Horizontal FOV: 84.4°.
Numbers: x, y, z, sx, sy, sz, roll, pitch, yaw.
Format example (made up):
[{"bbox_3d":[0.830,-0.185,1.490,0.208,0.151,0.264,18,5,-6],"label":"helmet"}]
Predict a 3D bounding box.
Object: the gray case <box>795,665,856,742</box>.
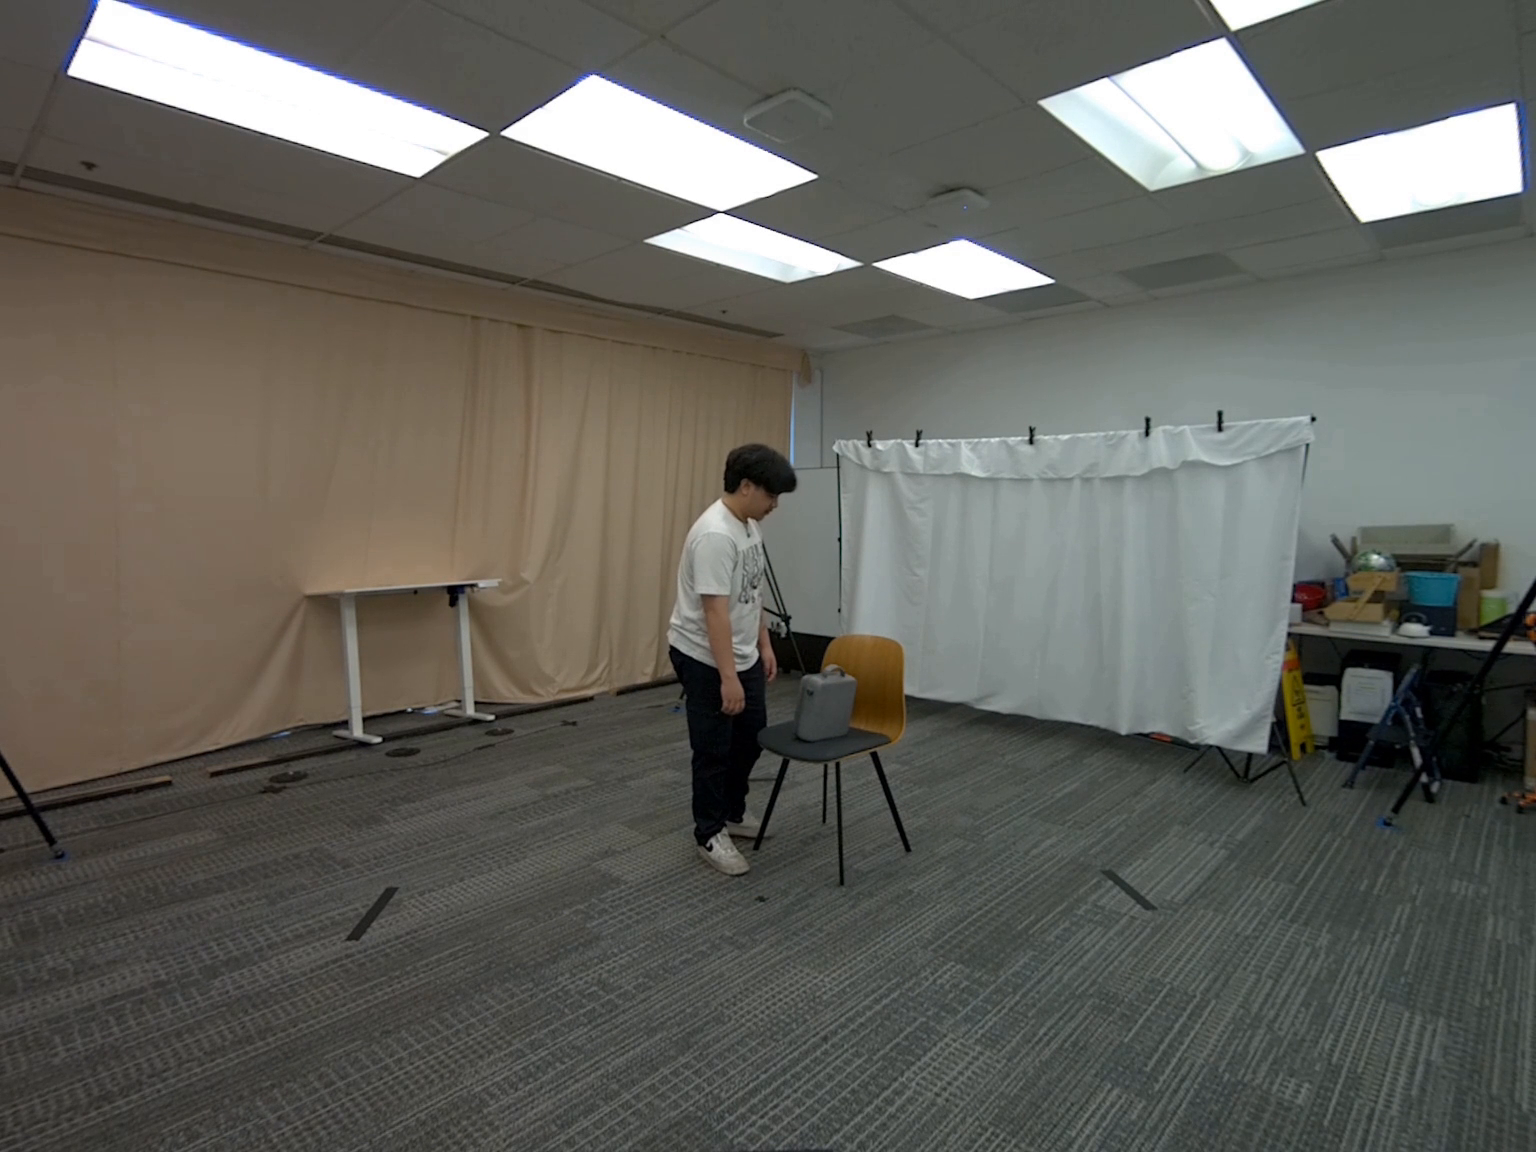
[{"bbox_3d":[0.229,0.511,3.323,0.248,0.260,0.108,2,11,-45],"label":"gray case"}]
